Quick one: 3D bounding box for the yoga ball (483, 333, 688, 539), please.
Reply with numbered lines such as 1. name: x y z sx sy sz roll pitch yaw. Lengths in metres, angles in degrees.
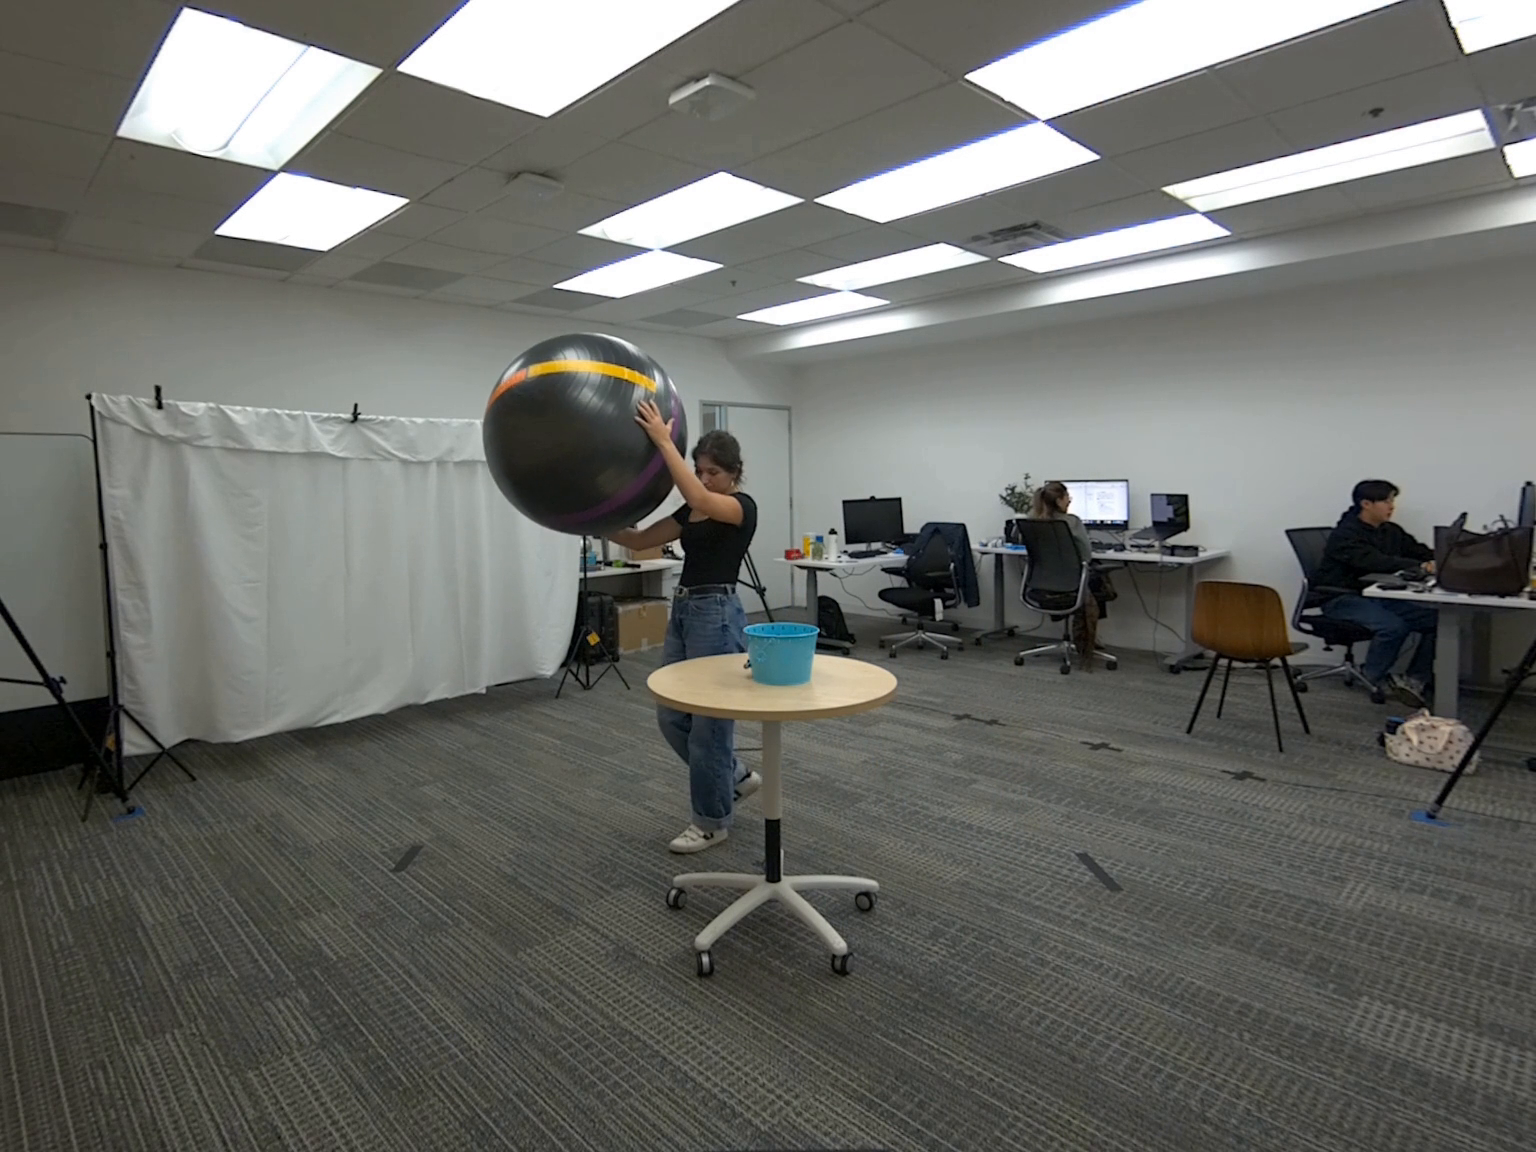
1. yoga ball: -0.690 -0.523 3.225 0.757 0.755 0.762 -1 5 -2
